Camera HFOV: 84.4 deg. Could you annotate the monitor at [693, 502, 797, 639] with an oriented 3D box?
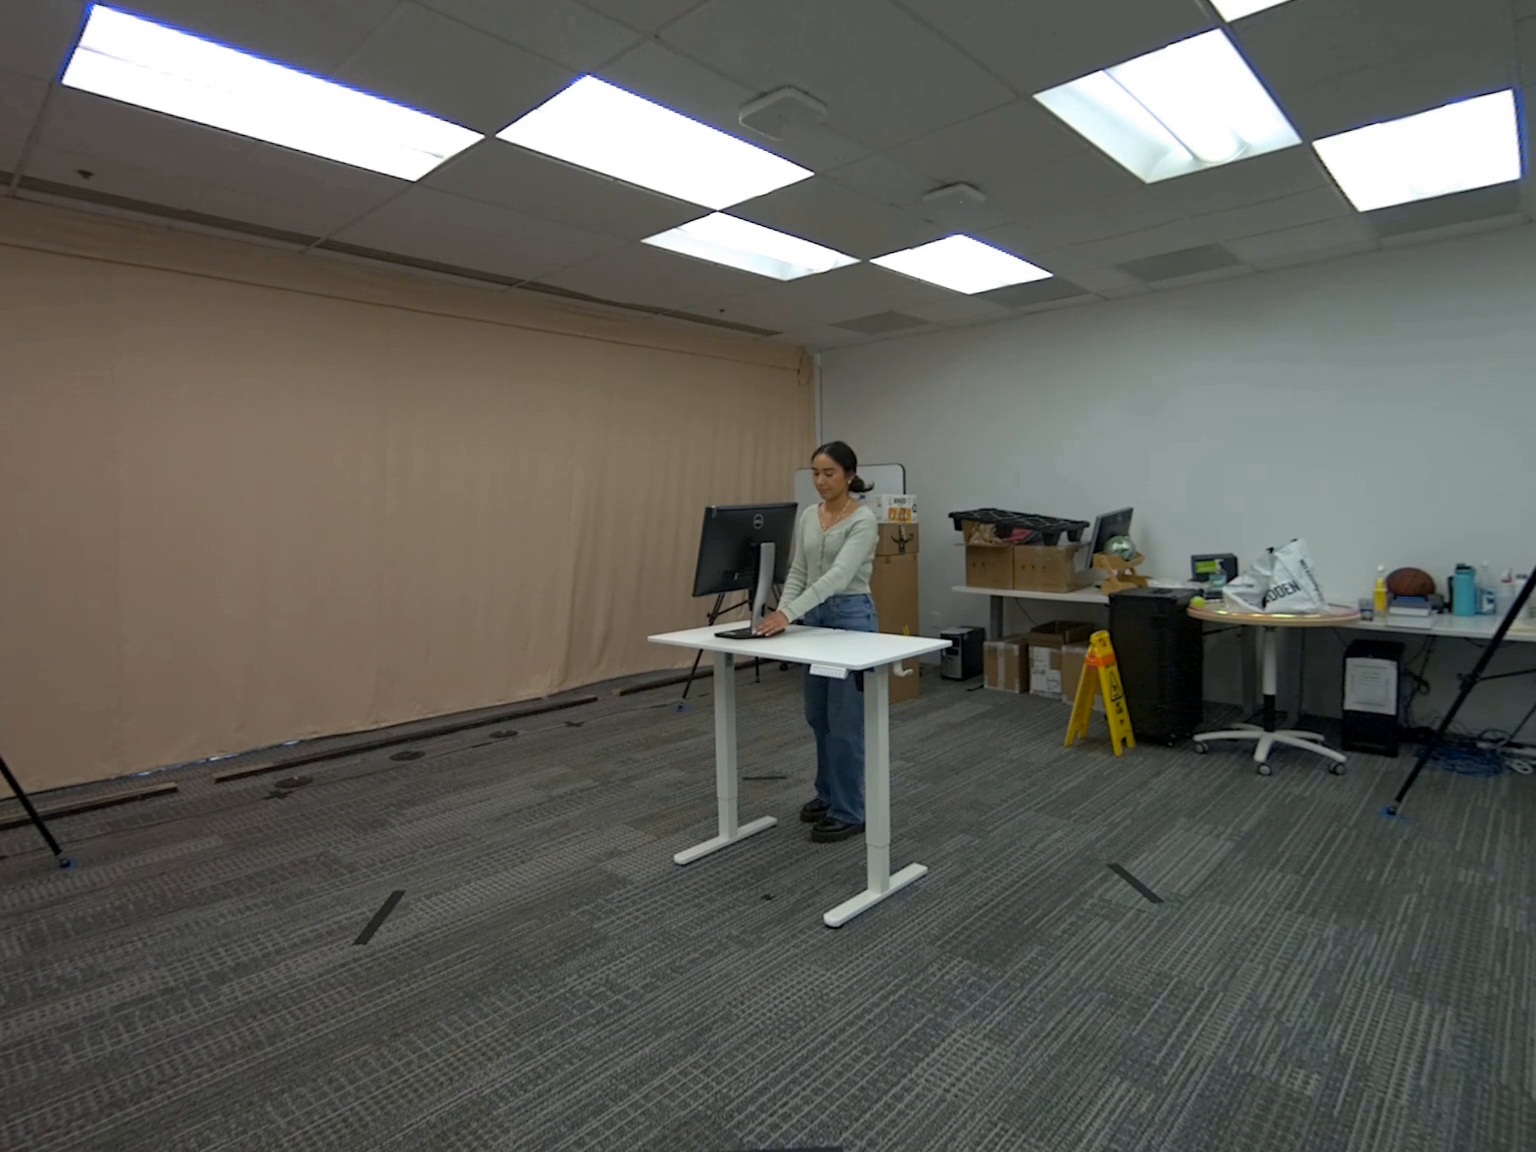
[{"bbox_3d":[-0.058,-0.026,3.306,0.180,0.515,0.514,-3,3,42],"label":"monitor"}]
